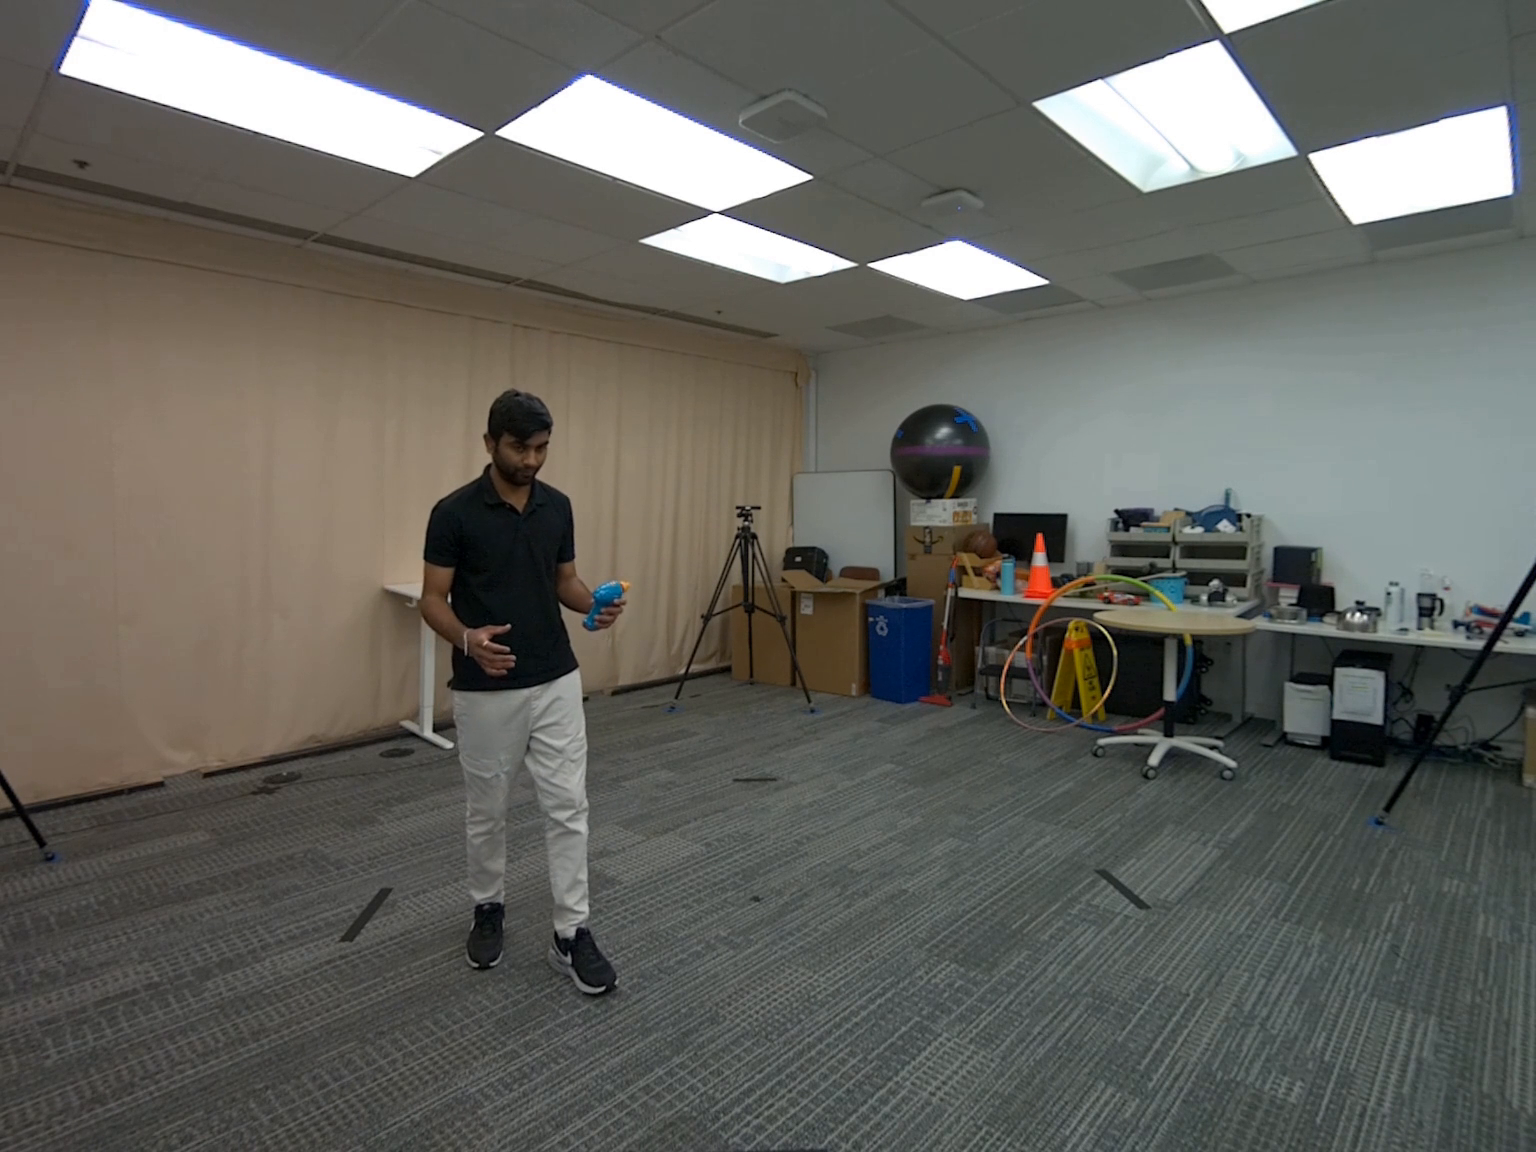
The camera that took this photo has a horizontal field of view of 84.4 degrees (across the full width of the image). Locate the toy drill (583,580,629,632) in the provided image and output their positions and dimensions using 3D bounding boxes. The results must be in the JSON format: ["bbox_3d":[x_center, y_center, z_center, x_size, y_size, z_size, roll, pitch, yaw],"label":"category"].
[{"bbox_3d":[-0.487,0.072,2.412,0.062,0.146,0.167,37,26,11],"label":"toy drill"}]
